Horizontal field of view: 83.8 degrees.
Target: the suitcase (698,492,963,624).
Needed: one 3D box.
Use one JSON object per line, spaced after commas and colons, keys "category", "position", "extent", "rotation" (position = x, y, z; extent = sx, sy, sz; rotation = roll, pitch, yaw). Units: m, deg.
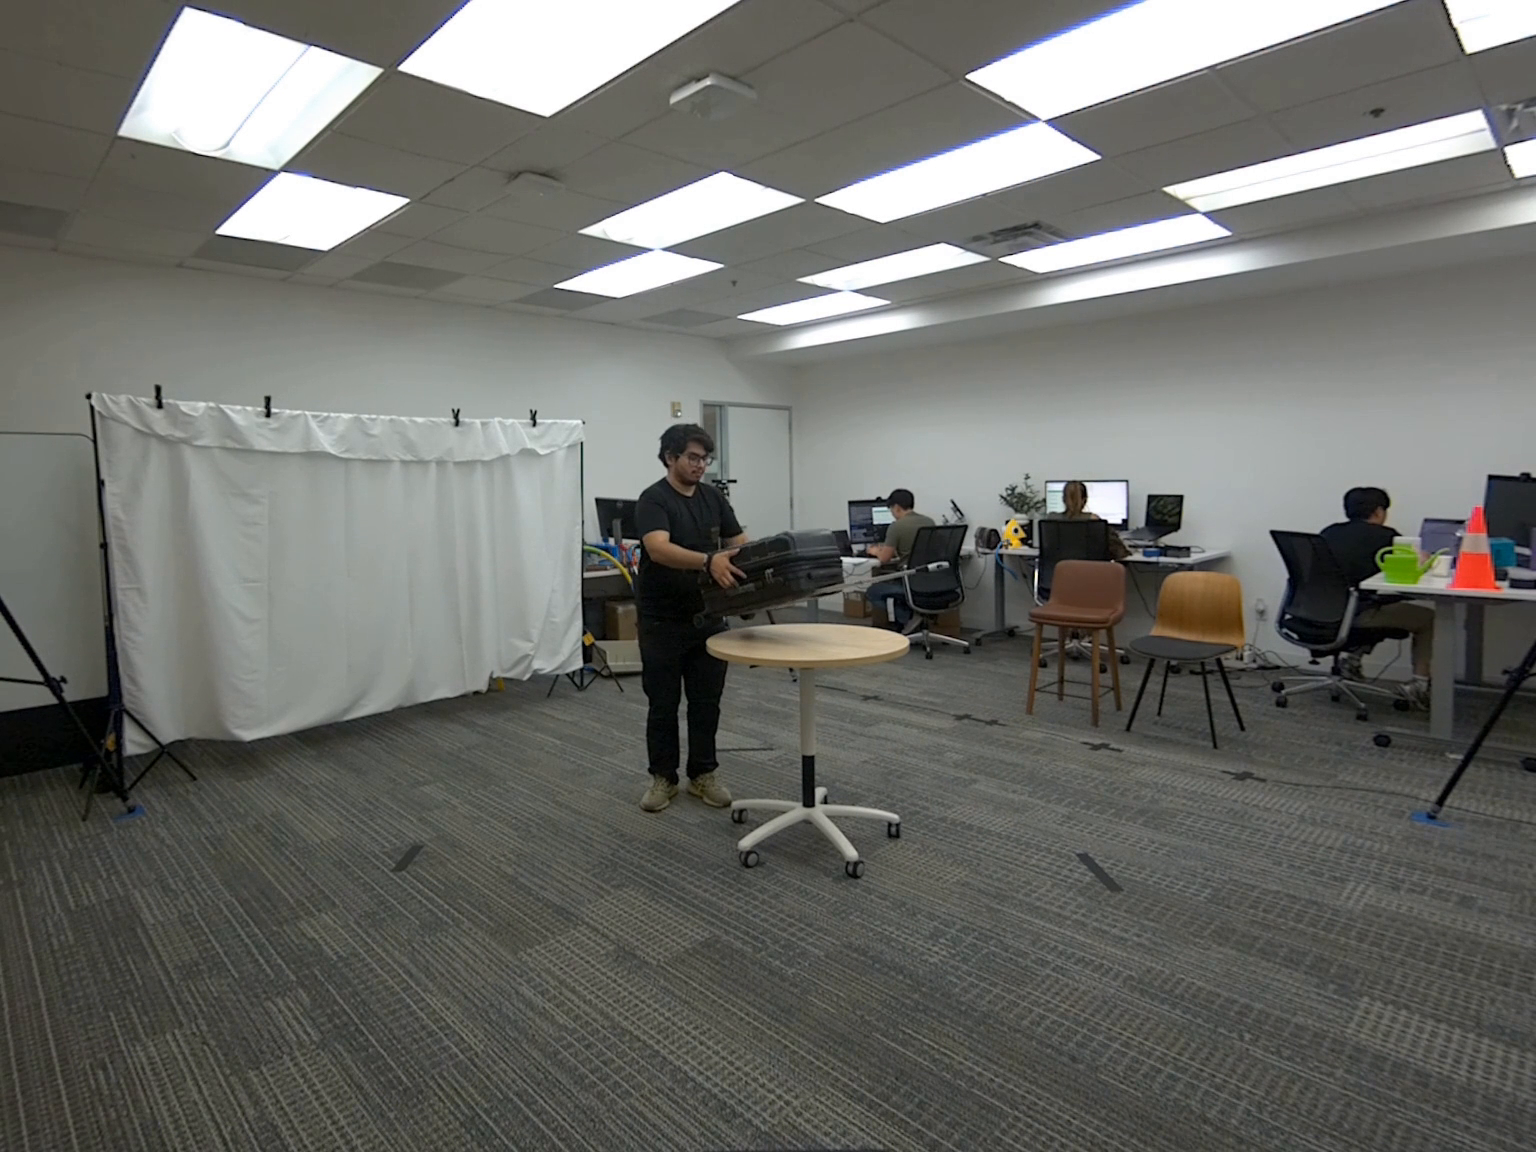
{"category": "suitcase", "position": [0.157, -0.044, 3.173], "extent": [0.997, 0.259, 0.374], "rotation": [-17, -8, 38]}
